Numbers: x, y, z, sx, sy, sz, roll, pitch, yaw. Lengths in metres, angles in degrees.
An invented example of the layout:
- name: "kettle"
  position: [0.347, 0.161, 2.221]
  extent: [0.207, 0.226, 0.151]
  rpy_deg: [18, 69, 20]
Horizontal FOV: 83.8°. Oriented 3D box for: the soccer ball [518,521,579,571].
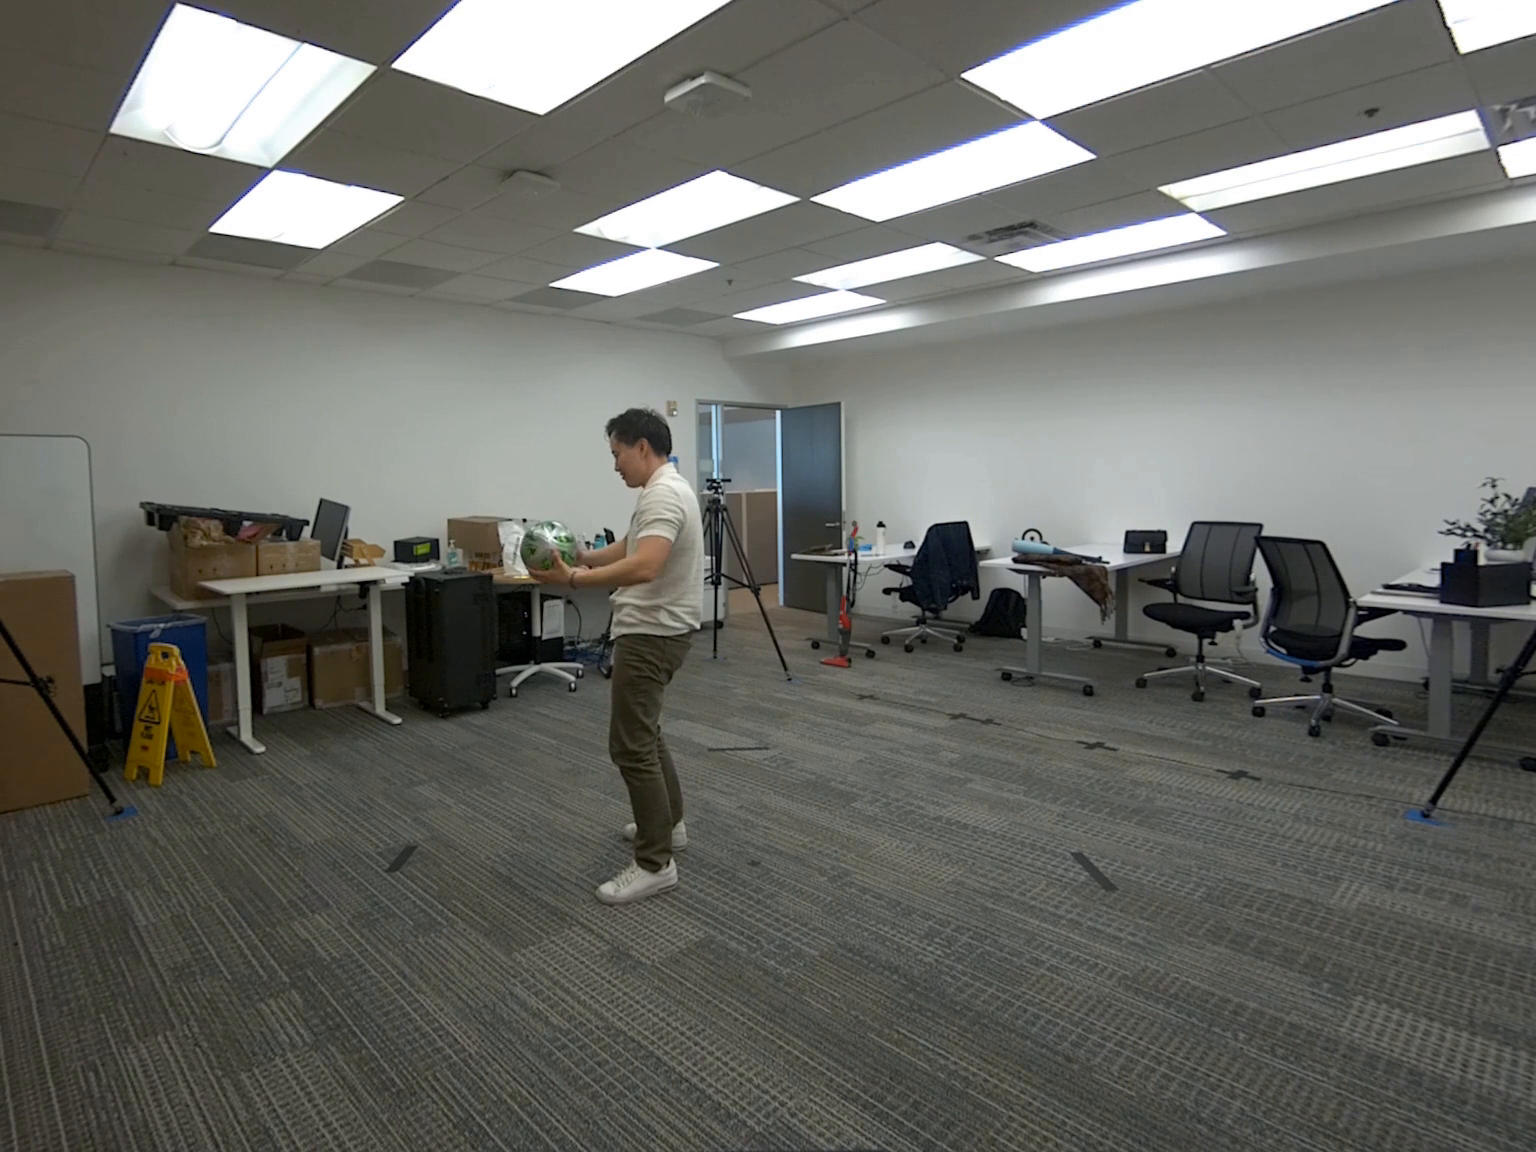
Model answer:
- name: "soccer ball"
  position: [-0.714, -0.087, 2.826]
  extent: [0.187, 0.187, 0.188]
  rpy_deg: [-1, 5, -2]
